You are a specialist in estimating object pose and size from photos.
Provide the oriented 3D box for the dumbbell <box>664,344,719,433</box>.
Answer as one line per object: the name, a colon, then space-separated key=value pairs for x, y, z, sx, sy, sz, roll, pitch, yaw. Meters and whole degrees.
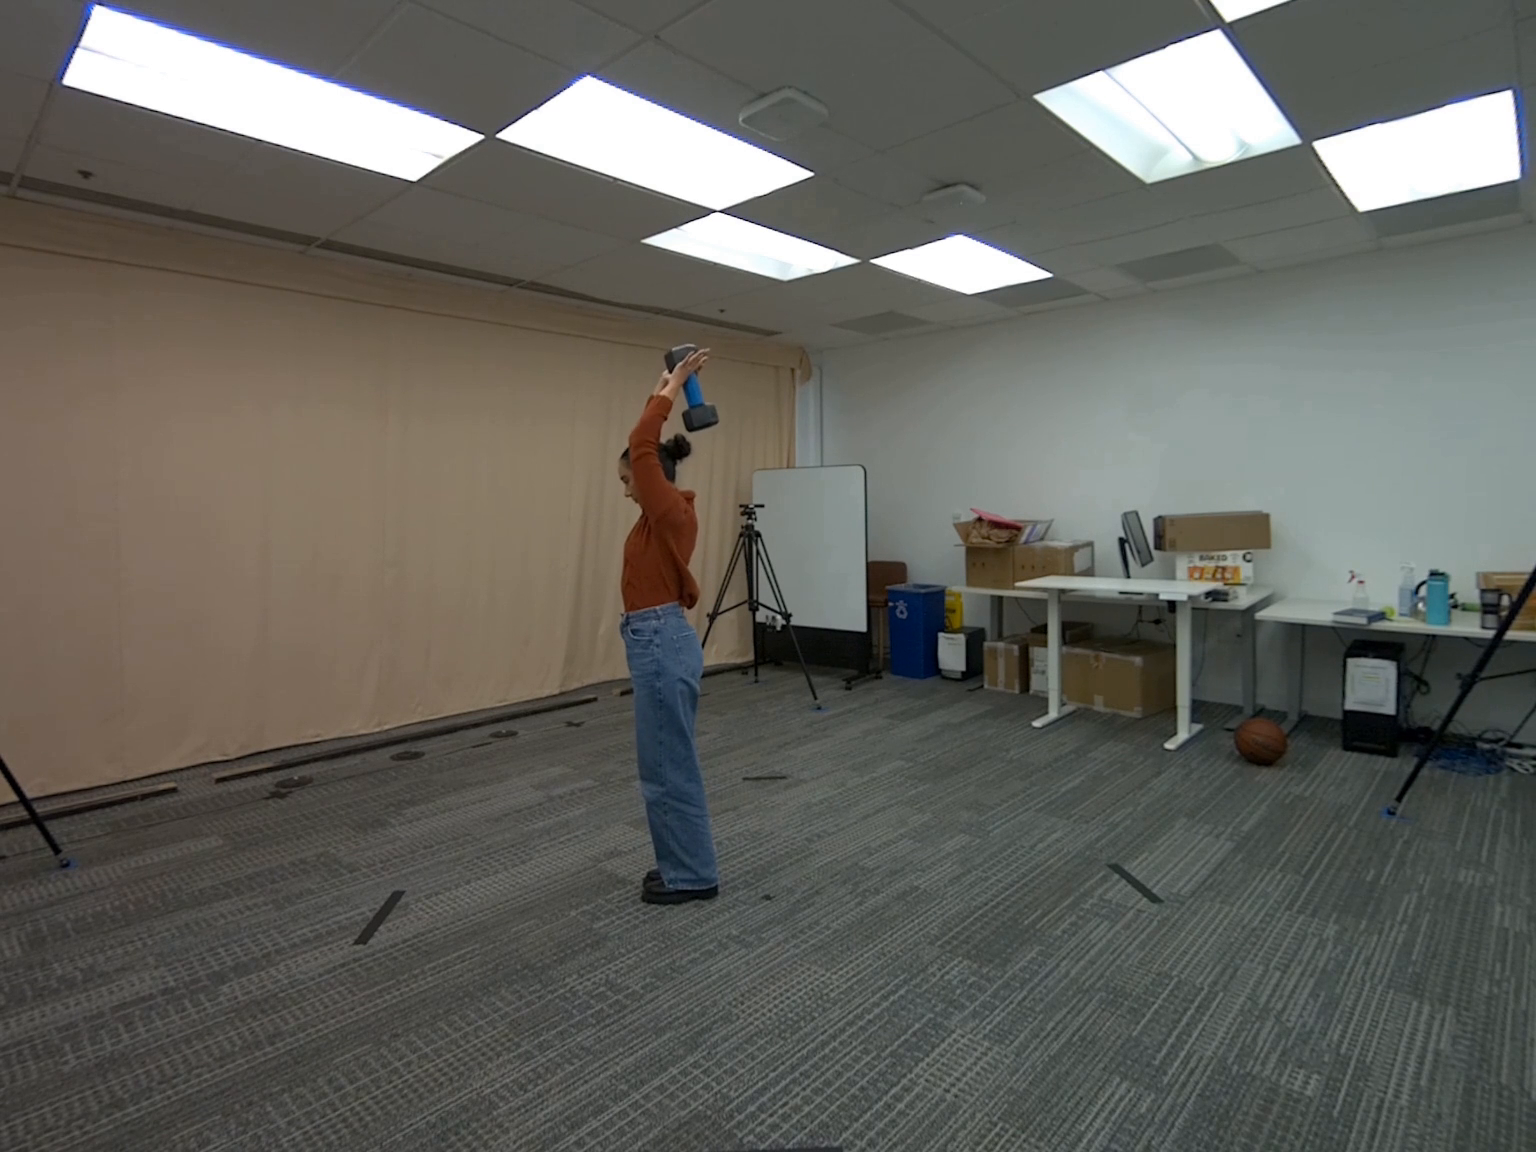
dumbbell: x=-0.270 y=-0.654 z=2.962 sx=0.122 sy=0.292 sz=0.110 roll=-18 pitch=6 yaw=-6
